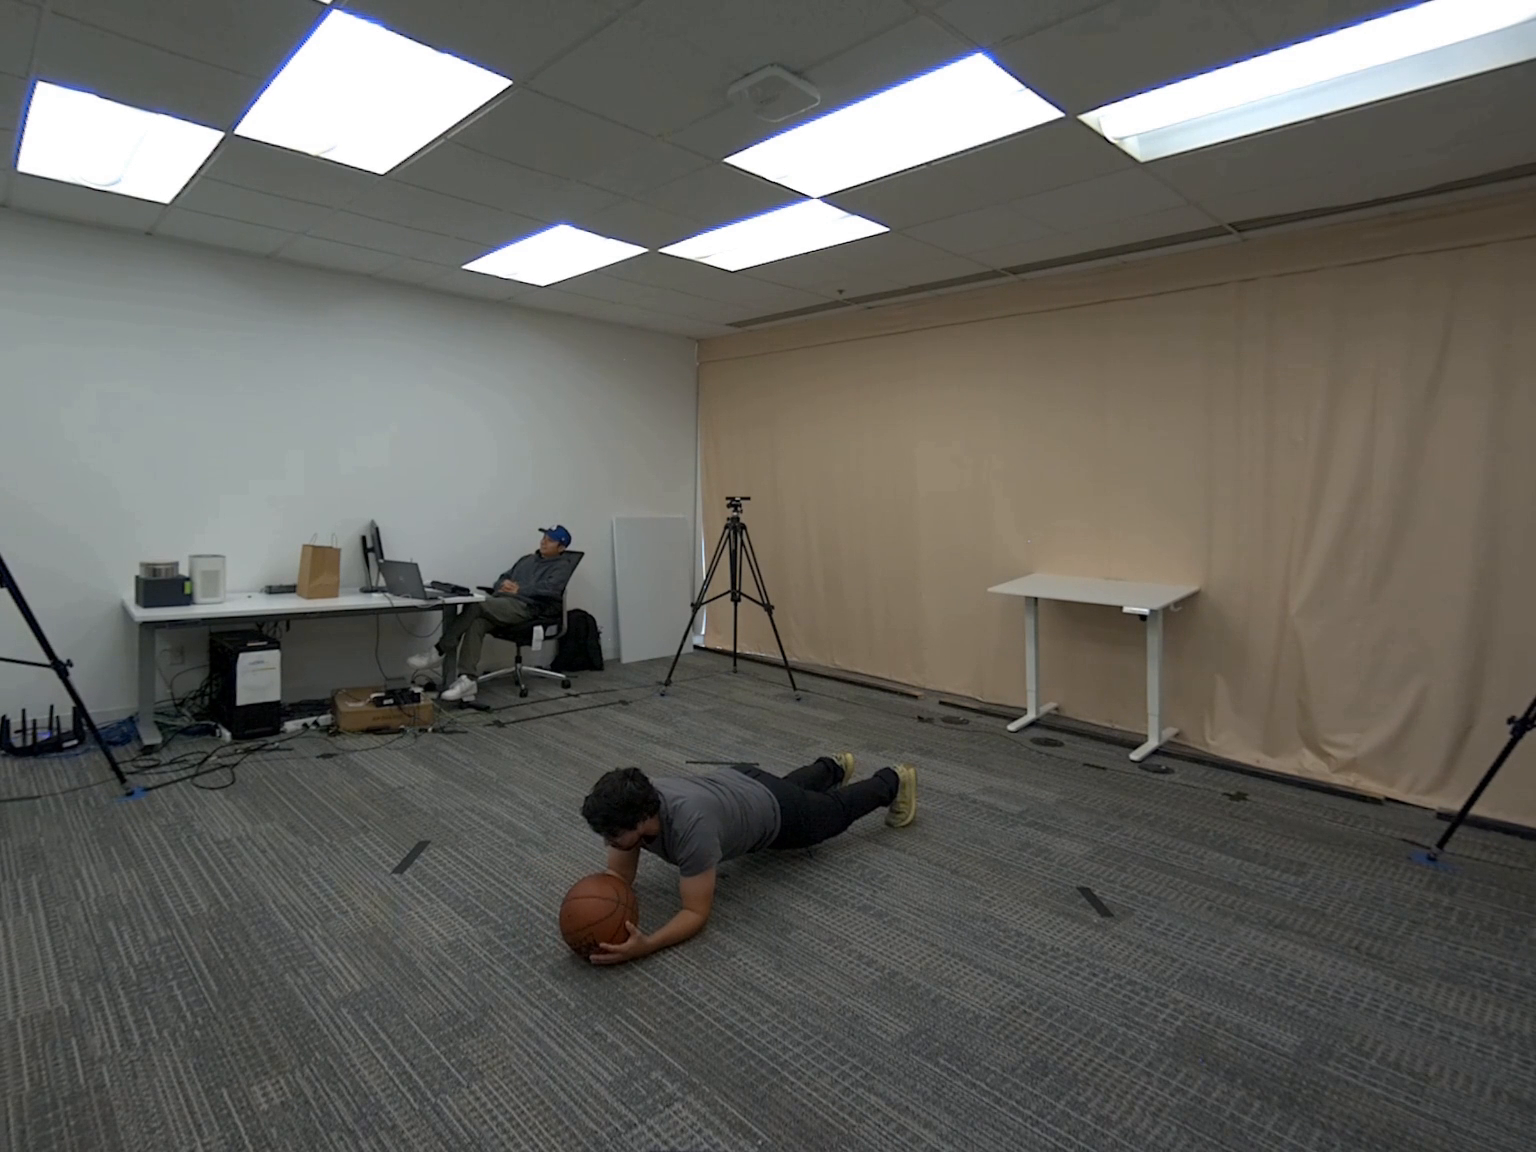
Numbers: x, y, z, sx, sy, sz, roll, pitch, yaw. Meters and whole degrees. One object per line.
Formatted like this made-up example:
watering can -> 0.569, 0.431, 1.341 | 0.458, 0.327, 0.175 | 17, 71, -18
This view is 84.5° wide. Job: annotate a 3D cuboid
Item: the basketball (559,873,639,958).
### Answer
basketball -> -0.520, 1.030, 2.546 | 0.236, 0.235, 0.237 | 1, 4, -1
